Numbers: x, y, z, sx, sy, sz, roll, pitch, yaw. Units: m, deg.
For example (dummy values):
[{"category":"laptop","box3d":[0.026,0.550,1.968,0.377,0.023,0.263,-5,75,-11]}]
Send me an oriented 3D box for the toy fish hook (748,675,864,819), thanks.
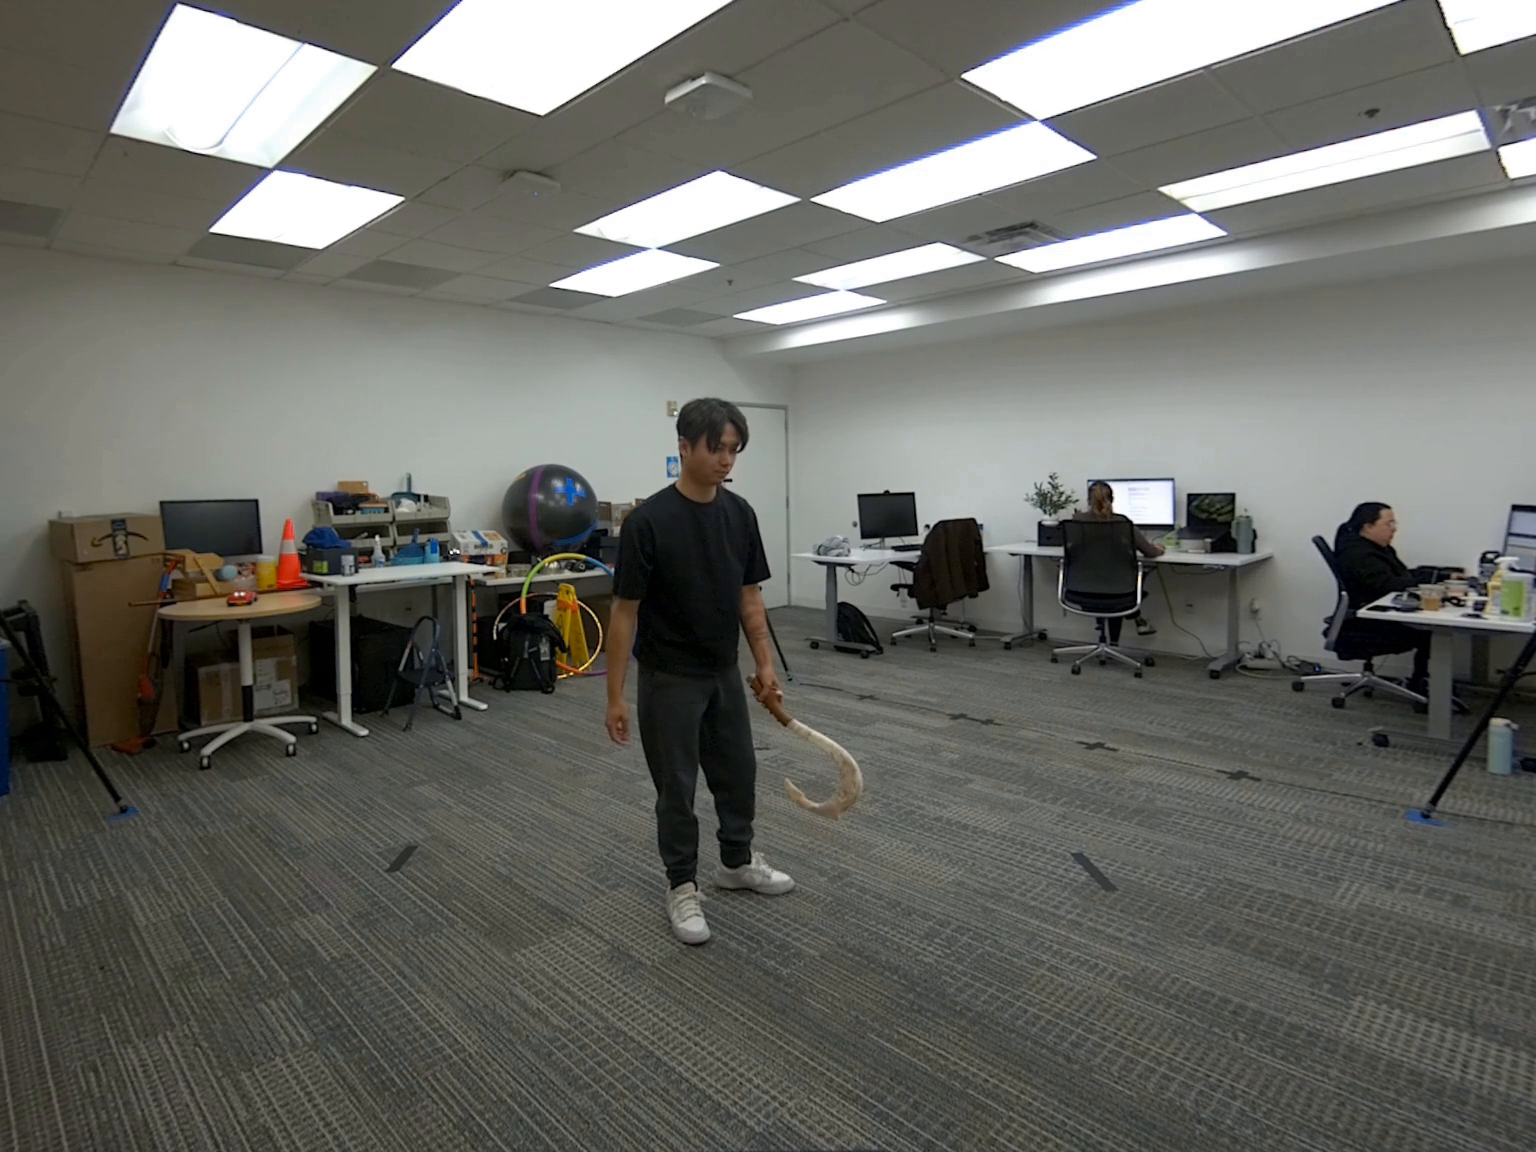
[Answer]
[{"category":"toy fish hook","box3d":[0.076,0.528,2.662,0.521,0.224,0.047,44,-1,23]}]
